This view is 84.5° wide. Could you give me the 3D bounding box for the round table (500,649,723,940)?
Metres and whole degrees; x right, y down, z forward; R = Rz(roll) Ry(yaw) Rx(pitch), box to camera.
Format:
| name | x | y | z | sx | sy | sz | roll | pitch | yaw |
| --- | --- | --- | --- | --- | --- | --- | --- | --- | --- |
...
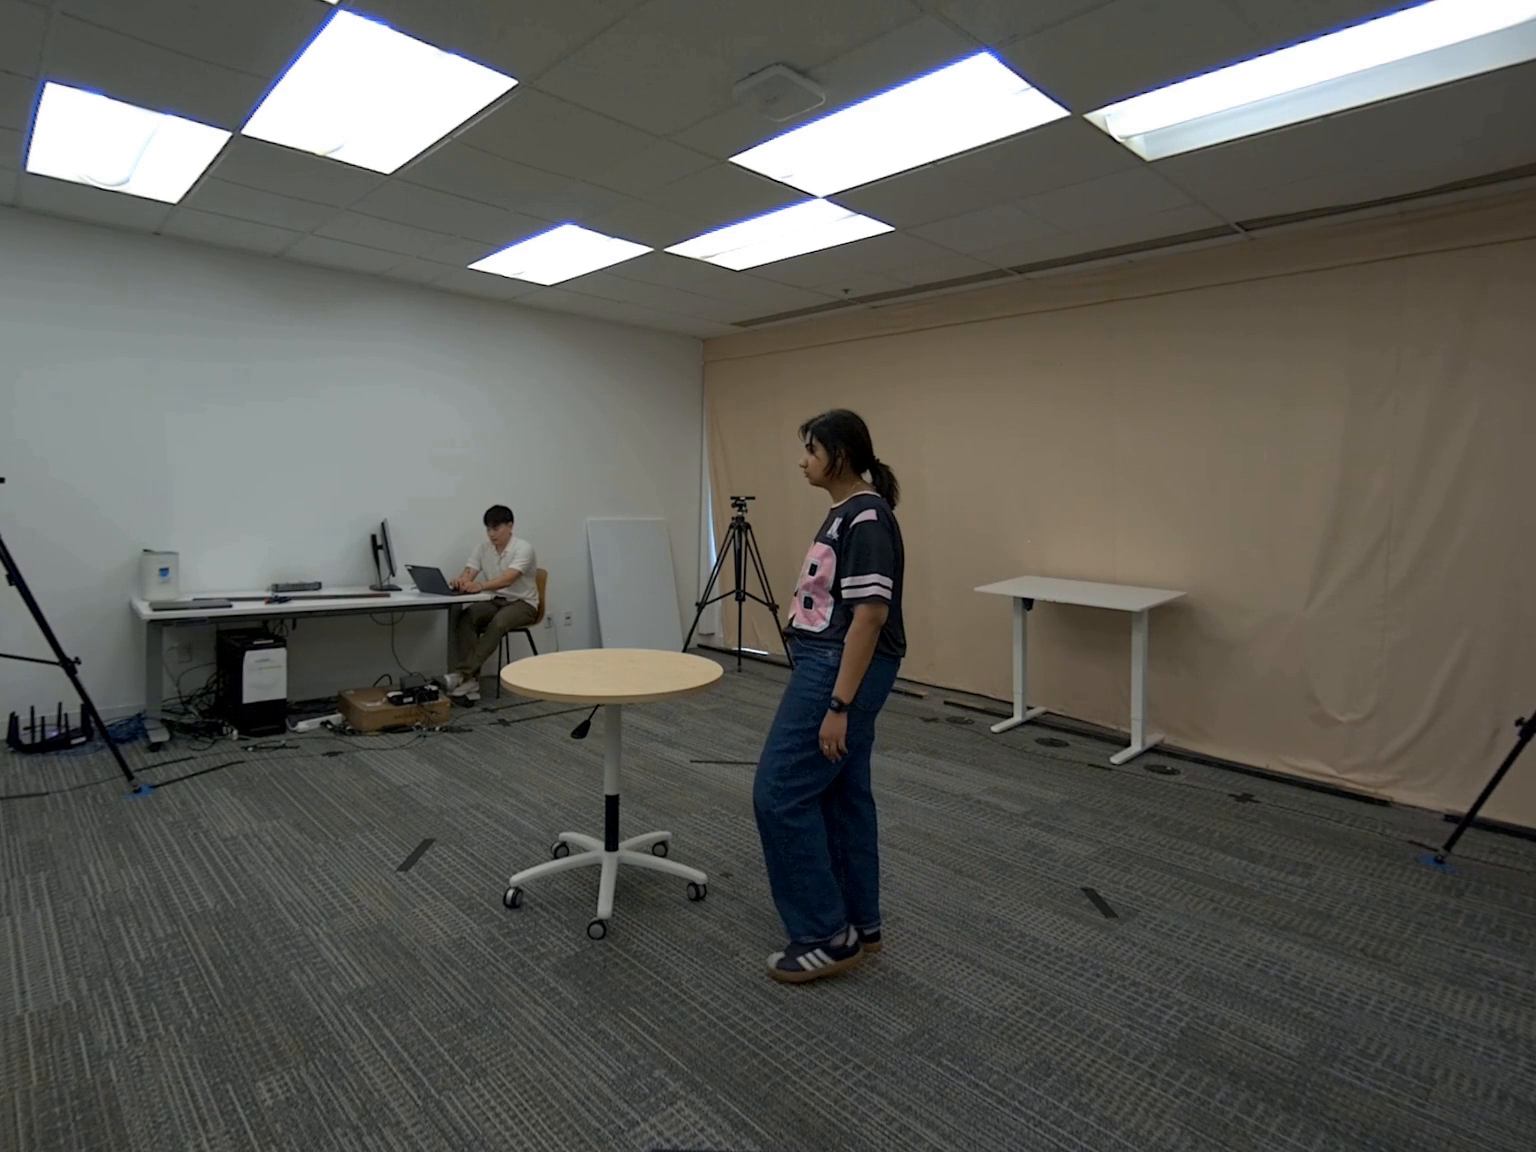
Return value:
| name | x | y | z | sx | sy | sz | roll | pitch | yaw |
| --- | --- | --- | --- | --- | --- | --- | --- | --- | --- |
| round table | -0.557 | 0.722 | 2.965 | 0.763 | 0.792 | 0.767 | 1 | 4 | -1 |
